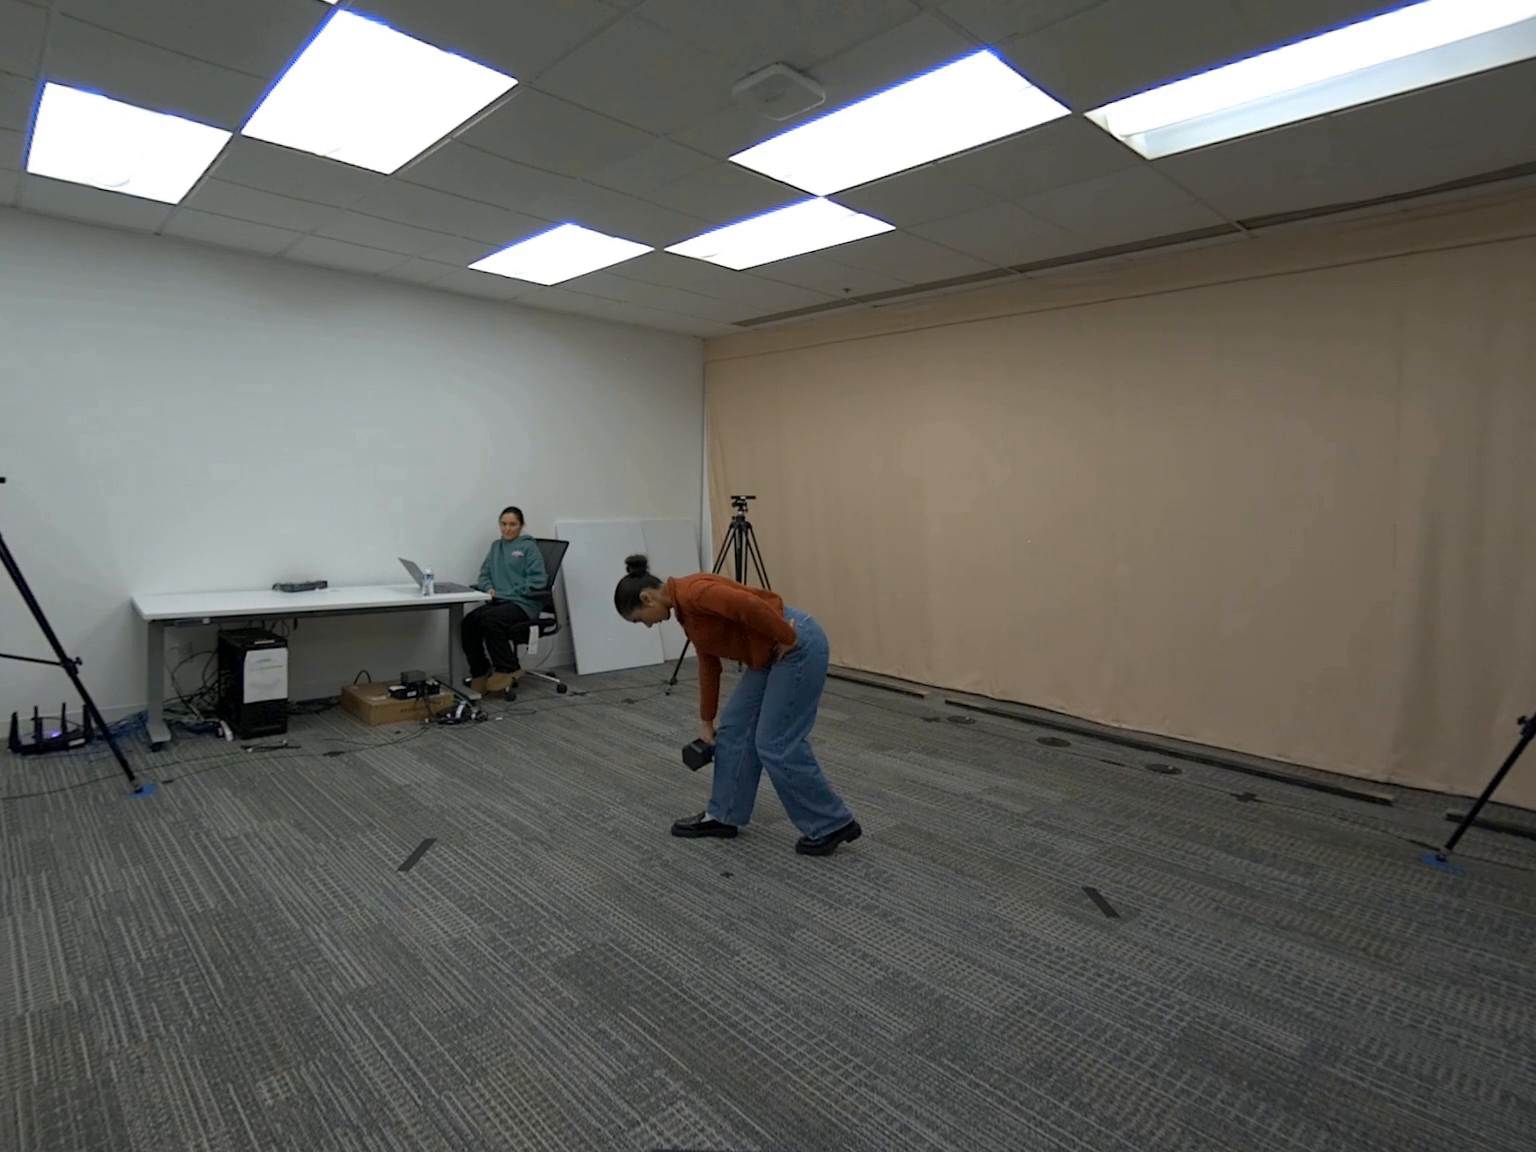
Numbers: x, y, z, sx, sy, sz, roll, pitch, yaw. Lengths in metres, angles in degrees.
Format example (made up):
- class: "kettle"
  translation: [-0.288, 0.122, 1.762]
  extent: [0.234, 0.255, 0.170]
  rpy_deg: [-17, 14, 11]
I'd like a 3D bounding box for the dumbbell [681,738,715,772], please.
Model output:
- class: "dumbbell"
  translation: [-0.243, 0.713, 3.512]
  extent: [0.111, 0.122, 0.288]
  rpy_deg: [2, 9, 33]
